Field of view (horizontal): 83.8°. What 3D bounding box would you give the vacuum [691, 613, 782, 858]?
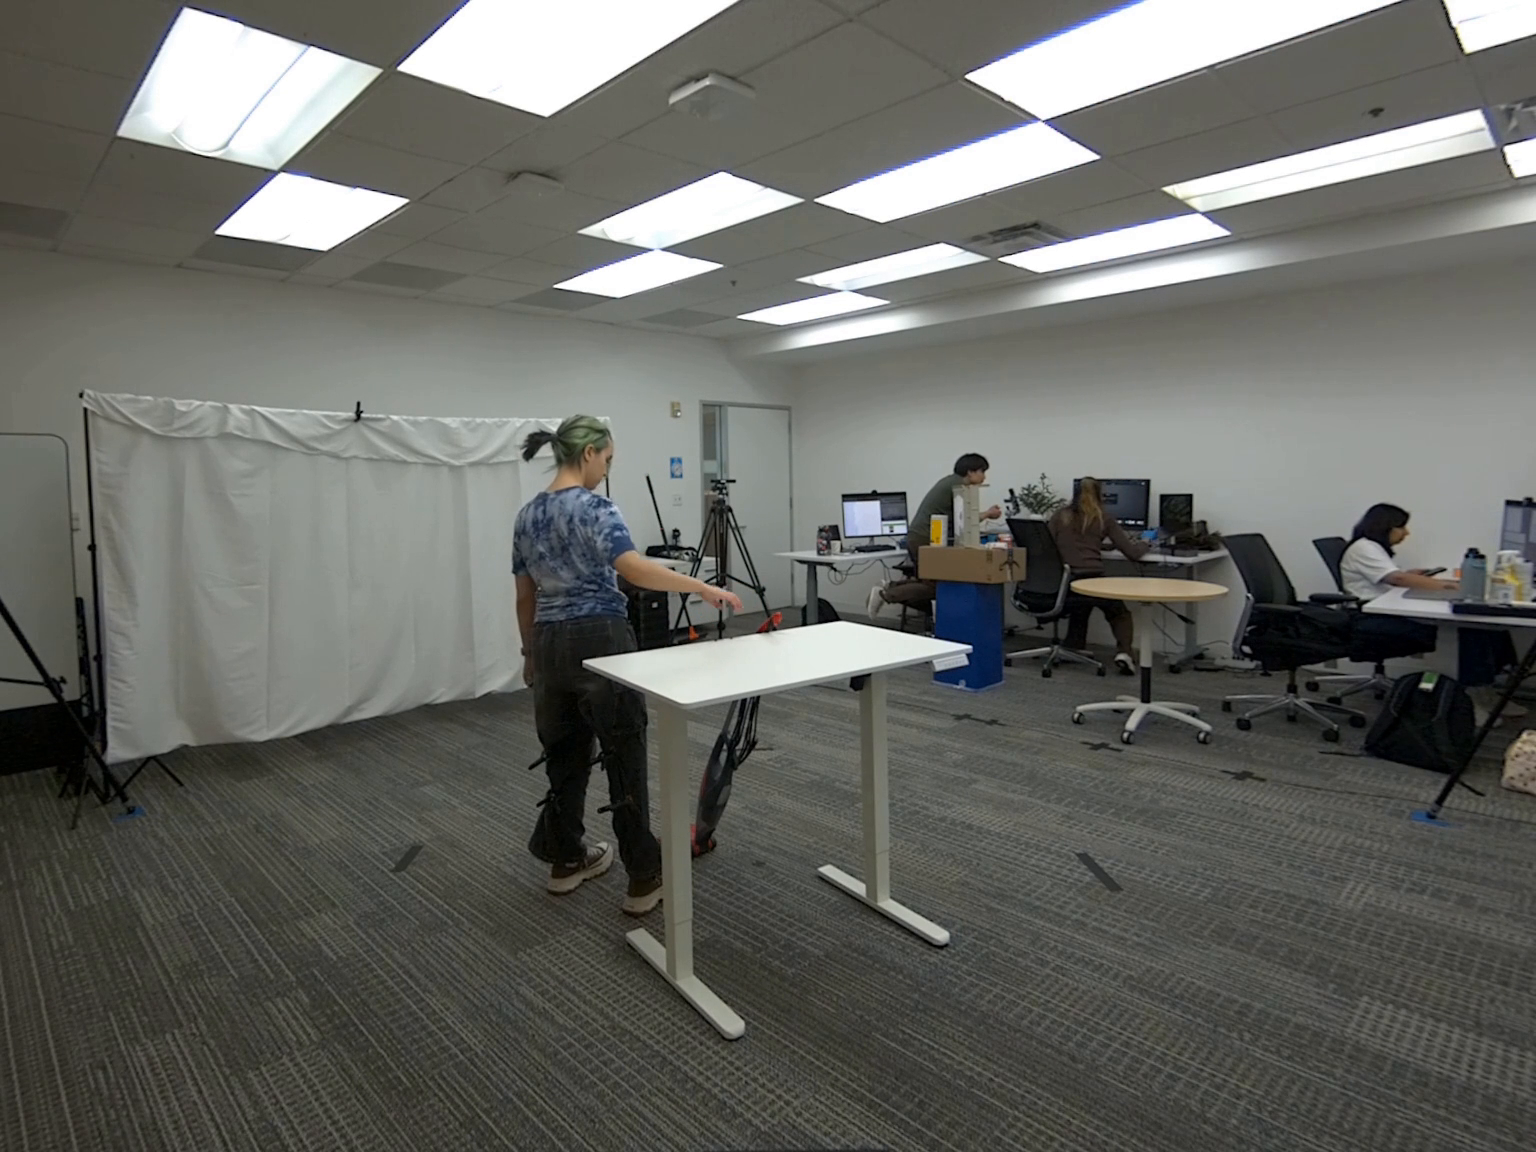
[{"bbox_3d":[-0.122,0.581,3.031,0.149,1.037,0.246,36,28,31],"label":"vacuum"}]
